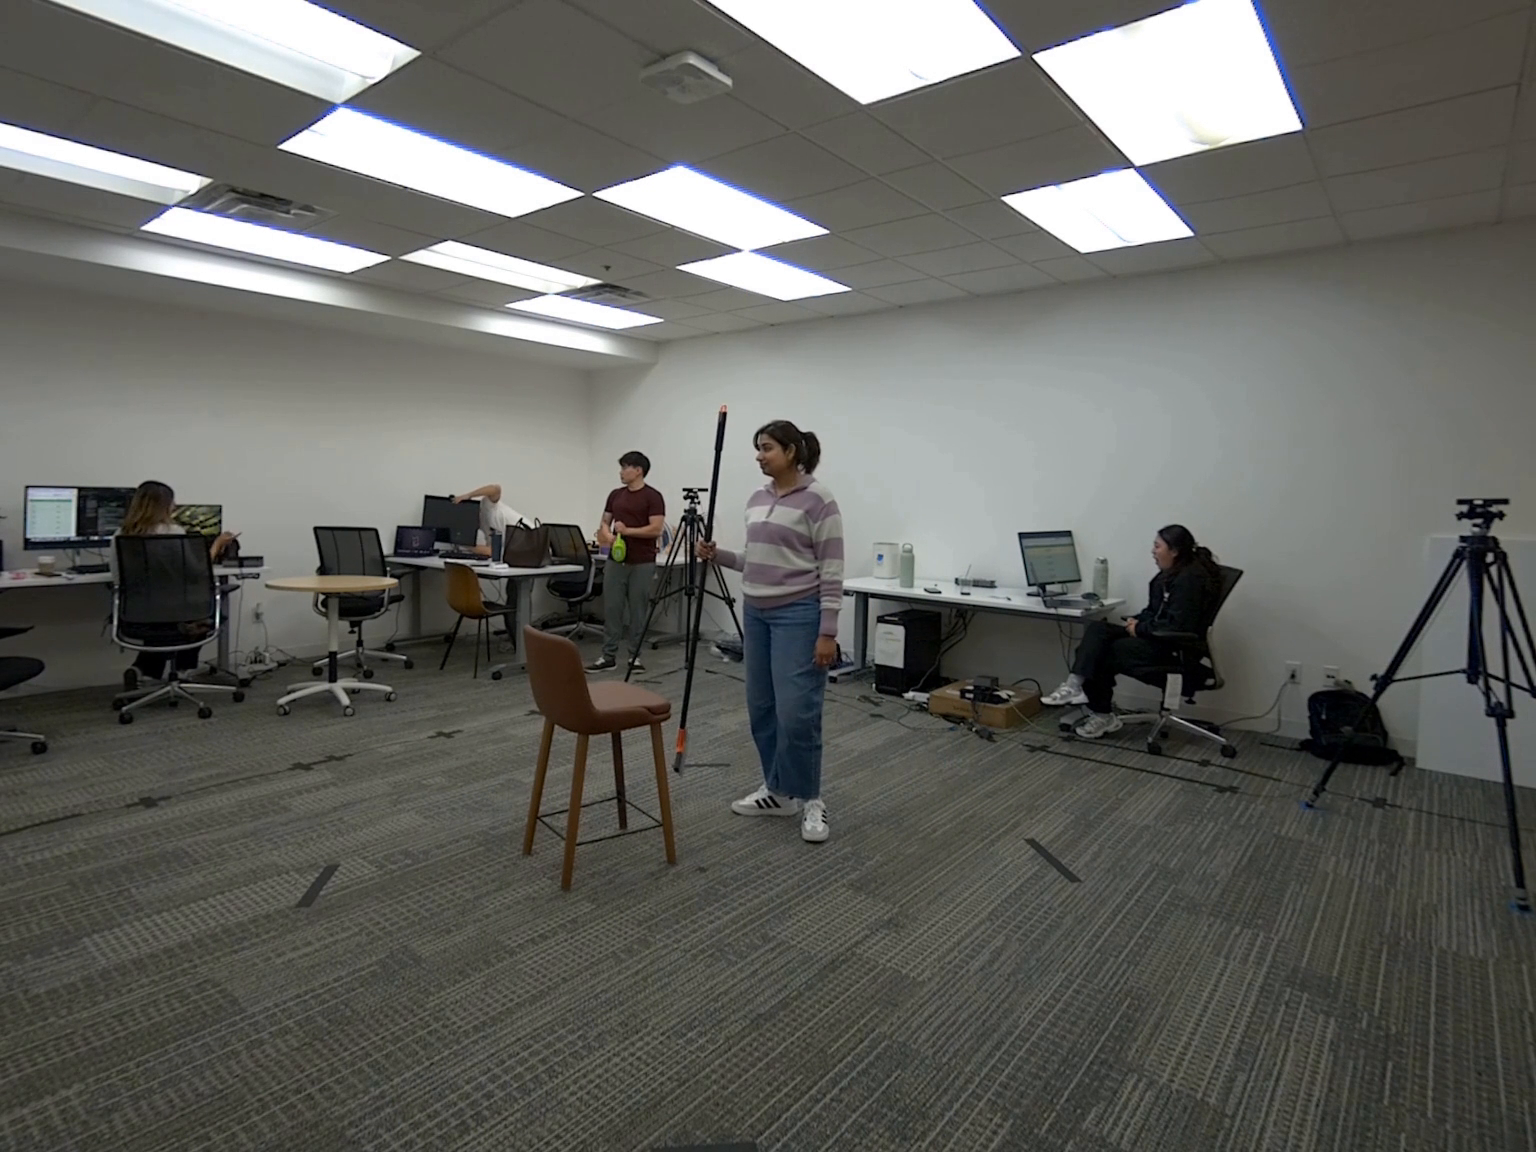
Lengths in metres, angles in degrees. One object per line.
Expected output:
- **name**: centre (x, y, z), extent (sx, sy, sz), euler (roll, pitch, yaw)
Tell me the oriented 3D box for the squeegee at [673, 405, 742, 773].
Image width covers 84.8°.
- **squeegee**: centre (-0.297, 0.047, 3.642), extent (0.053, 1.526, 0.438), euler (9, 10, 3)
